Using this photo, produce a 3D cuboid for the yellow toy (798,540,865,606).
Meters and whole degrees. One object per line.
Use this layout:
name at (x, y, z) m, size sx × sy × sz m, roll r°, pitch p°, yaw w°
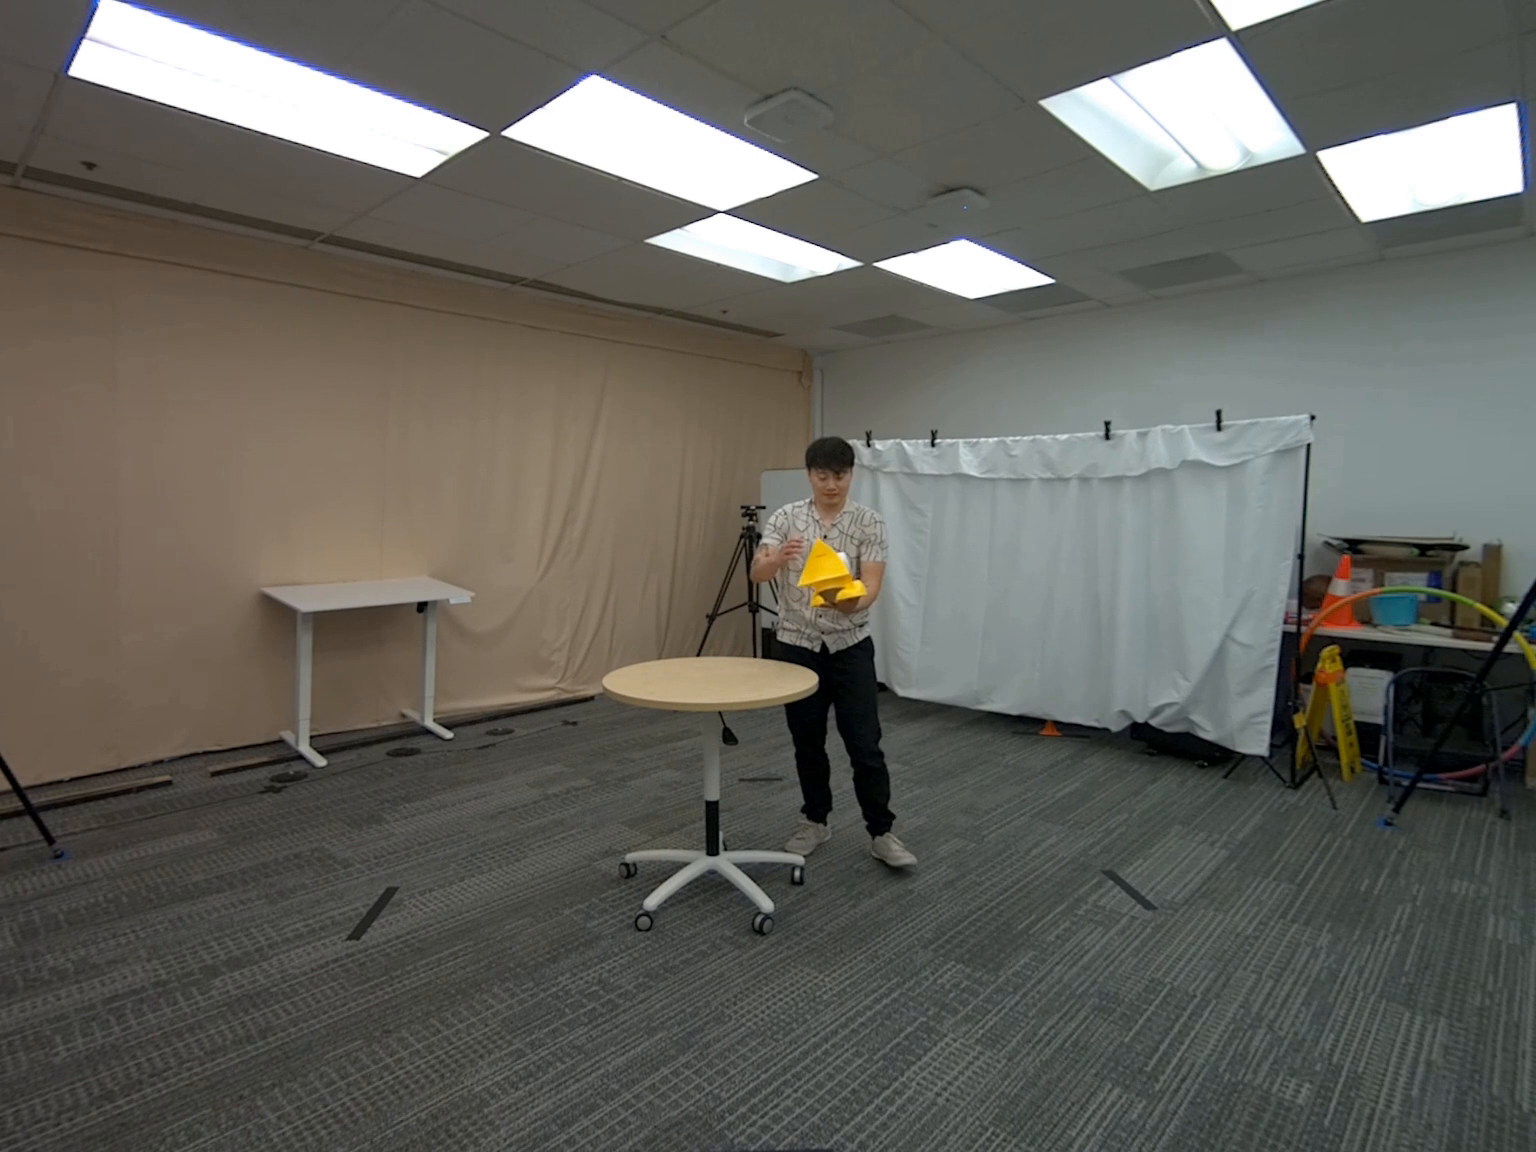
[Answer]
yellow toy at (0.234, -0.021, 3.025) m, size 0.209 × 0.232 × 0.188 m, roll -16°, pitch -8°, yaw 29°
